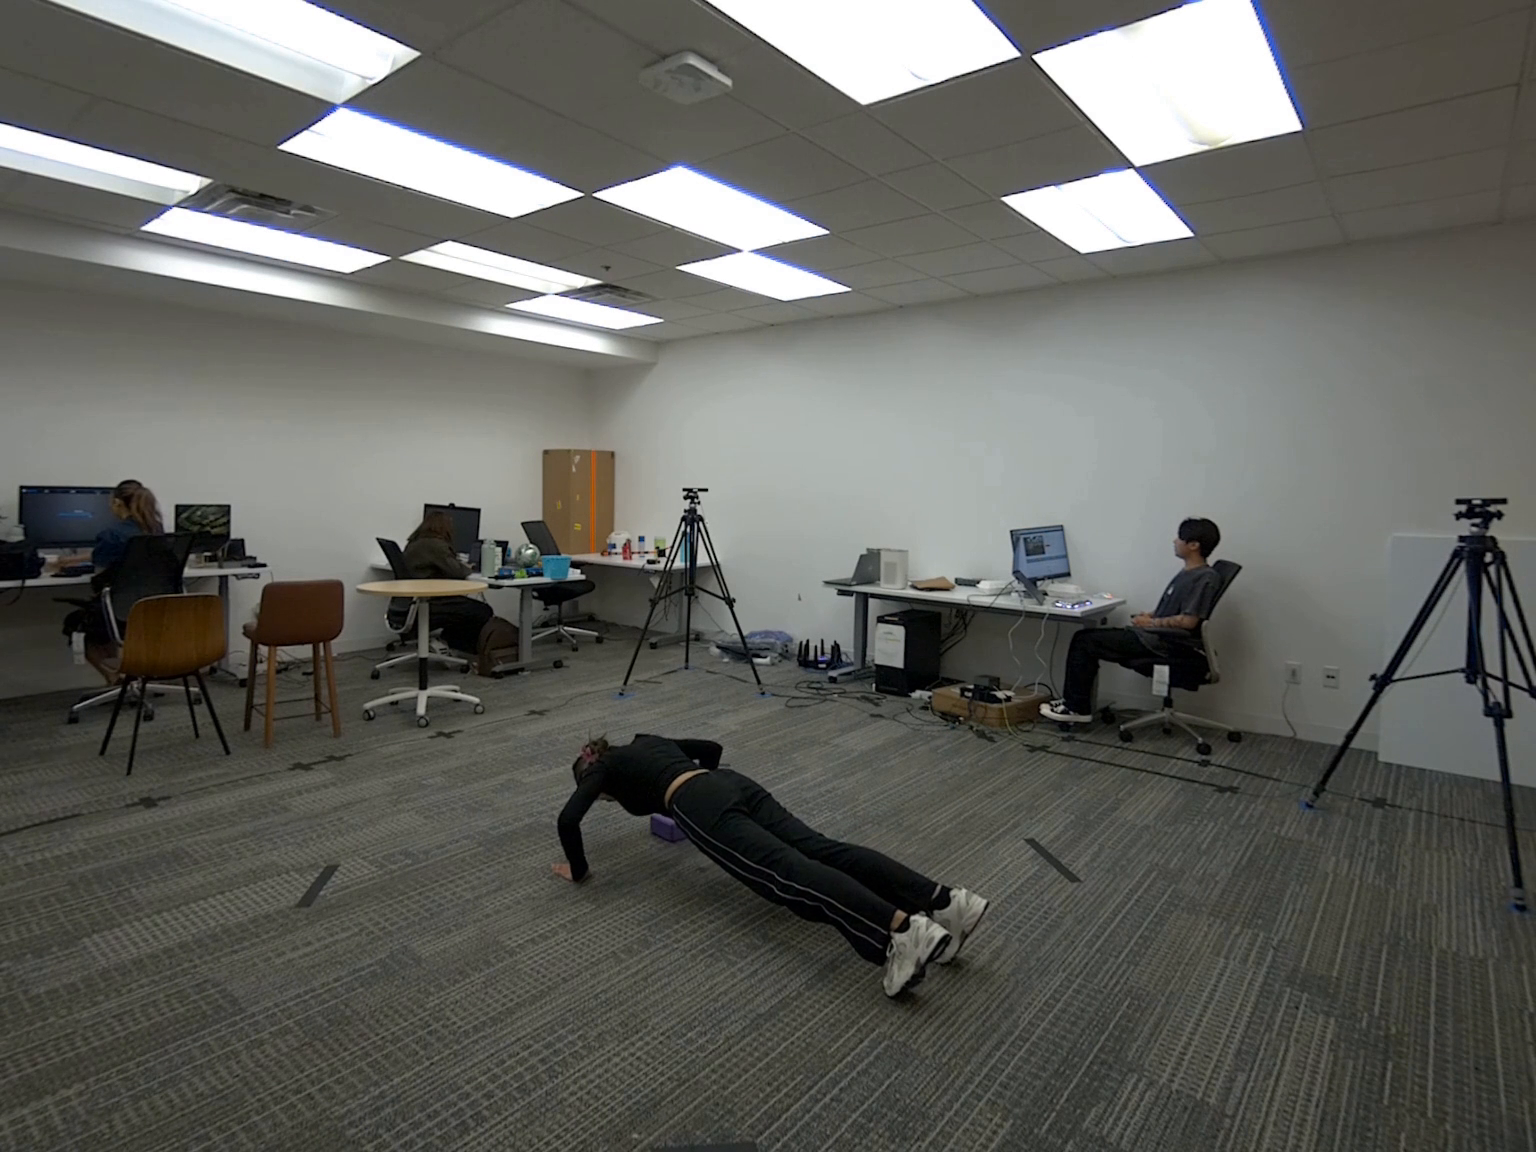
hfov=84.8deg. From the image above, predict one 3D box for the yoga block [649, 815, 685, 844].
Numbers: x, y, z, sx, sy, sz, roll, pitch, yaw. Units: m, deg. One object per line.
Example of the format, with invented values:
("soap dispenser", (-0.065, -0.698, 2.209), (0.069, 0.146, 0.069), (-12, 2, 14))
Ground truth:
("yoga block", (-0.356, 0.994, 3.456), (0.154, 0.076, 0.222), (5, 6, 44))
